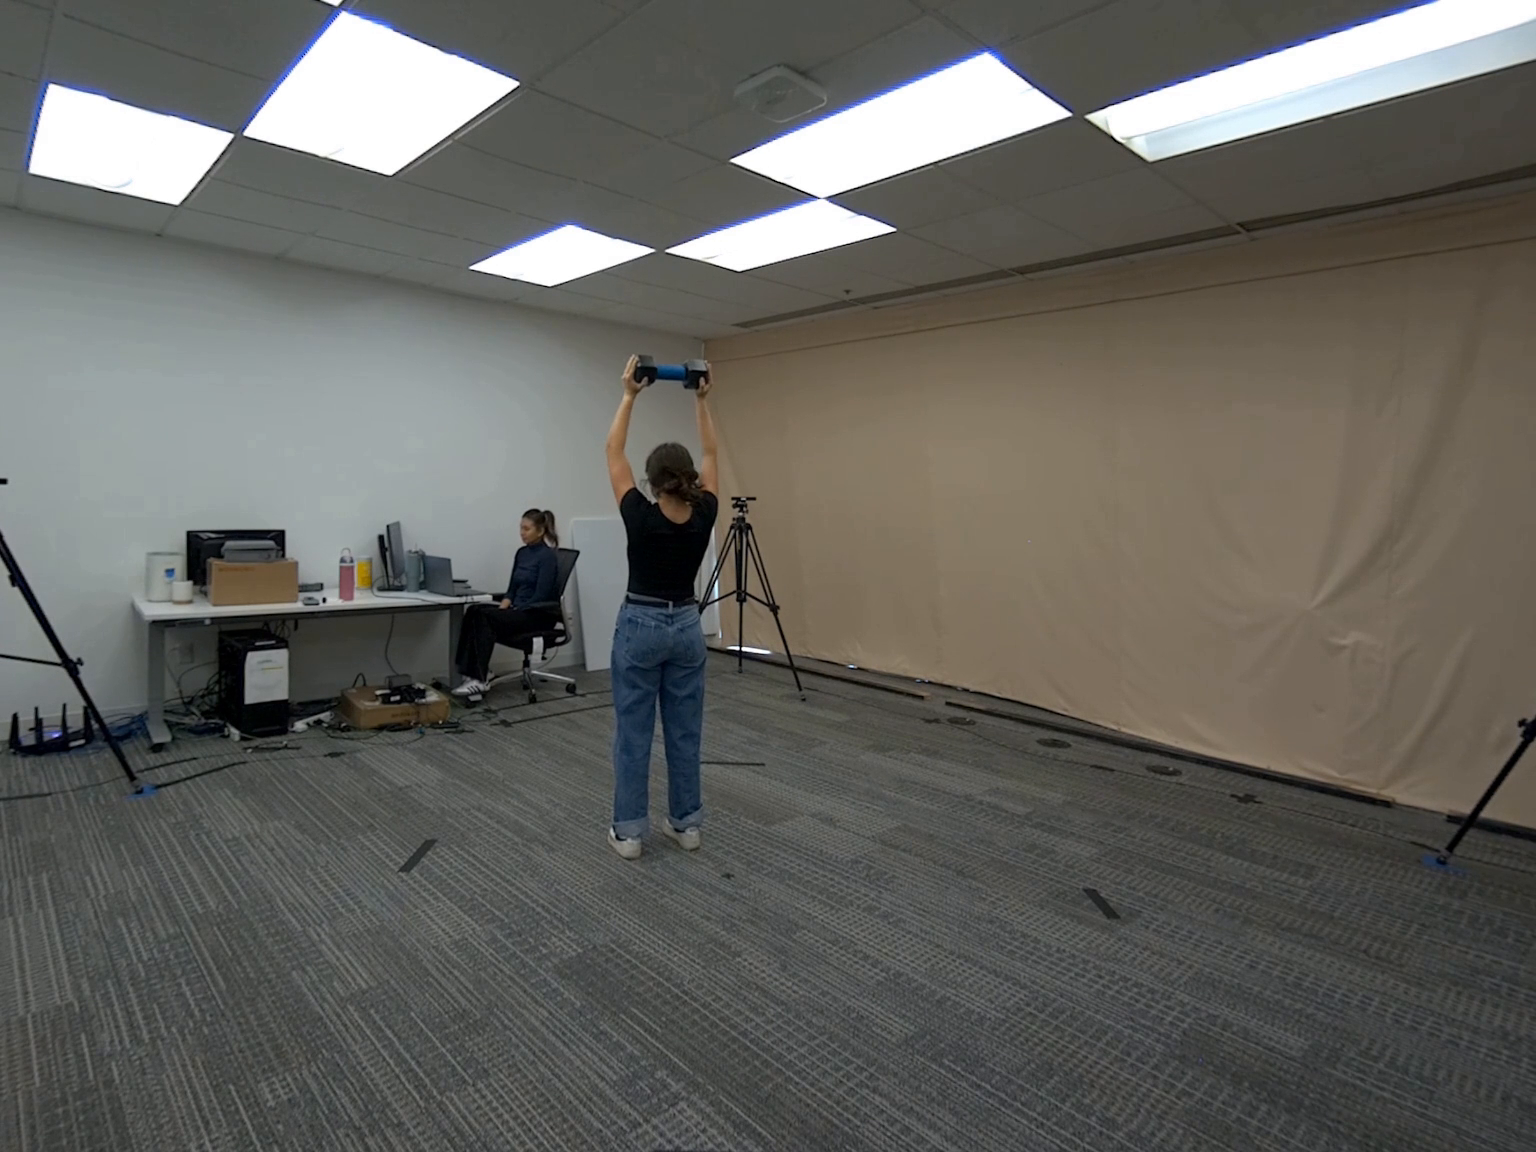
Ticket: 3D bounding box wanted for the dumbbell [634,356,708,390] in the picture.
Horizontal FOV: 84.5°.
[{"bbox_3d":[-0.400,-0.799,3.322,0.288,0.126,0.108,-1,-35,-25],"label":"dumbbell"}]
